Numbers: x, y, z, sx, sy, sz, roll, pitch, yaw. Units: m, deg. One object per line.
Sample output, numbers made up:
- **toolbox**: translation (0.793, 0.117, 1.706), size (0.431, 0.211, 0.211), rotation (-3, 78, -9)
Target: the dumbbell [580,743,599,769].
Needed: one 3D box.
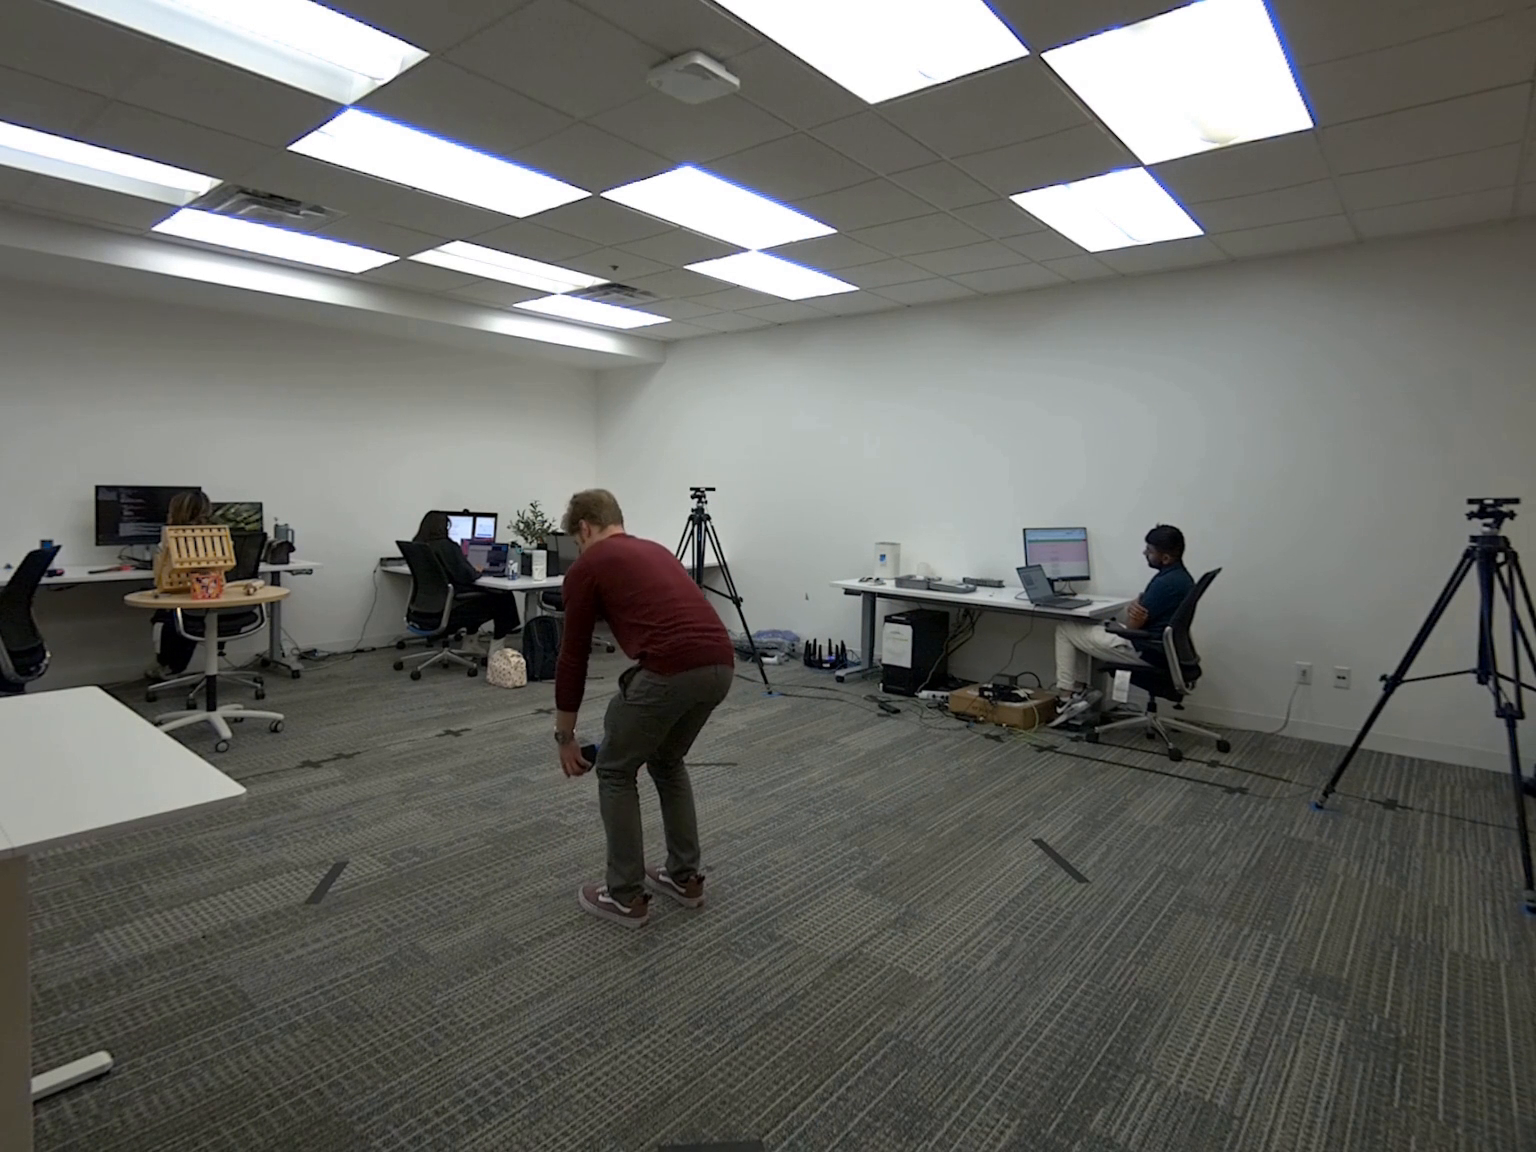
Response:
- **dumbbell**: translation (-0.580, 0.616, 2.983), size (0.111, 0.124, 0.285), rotation (-20, -10, 40)
